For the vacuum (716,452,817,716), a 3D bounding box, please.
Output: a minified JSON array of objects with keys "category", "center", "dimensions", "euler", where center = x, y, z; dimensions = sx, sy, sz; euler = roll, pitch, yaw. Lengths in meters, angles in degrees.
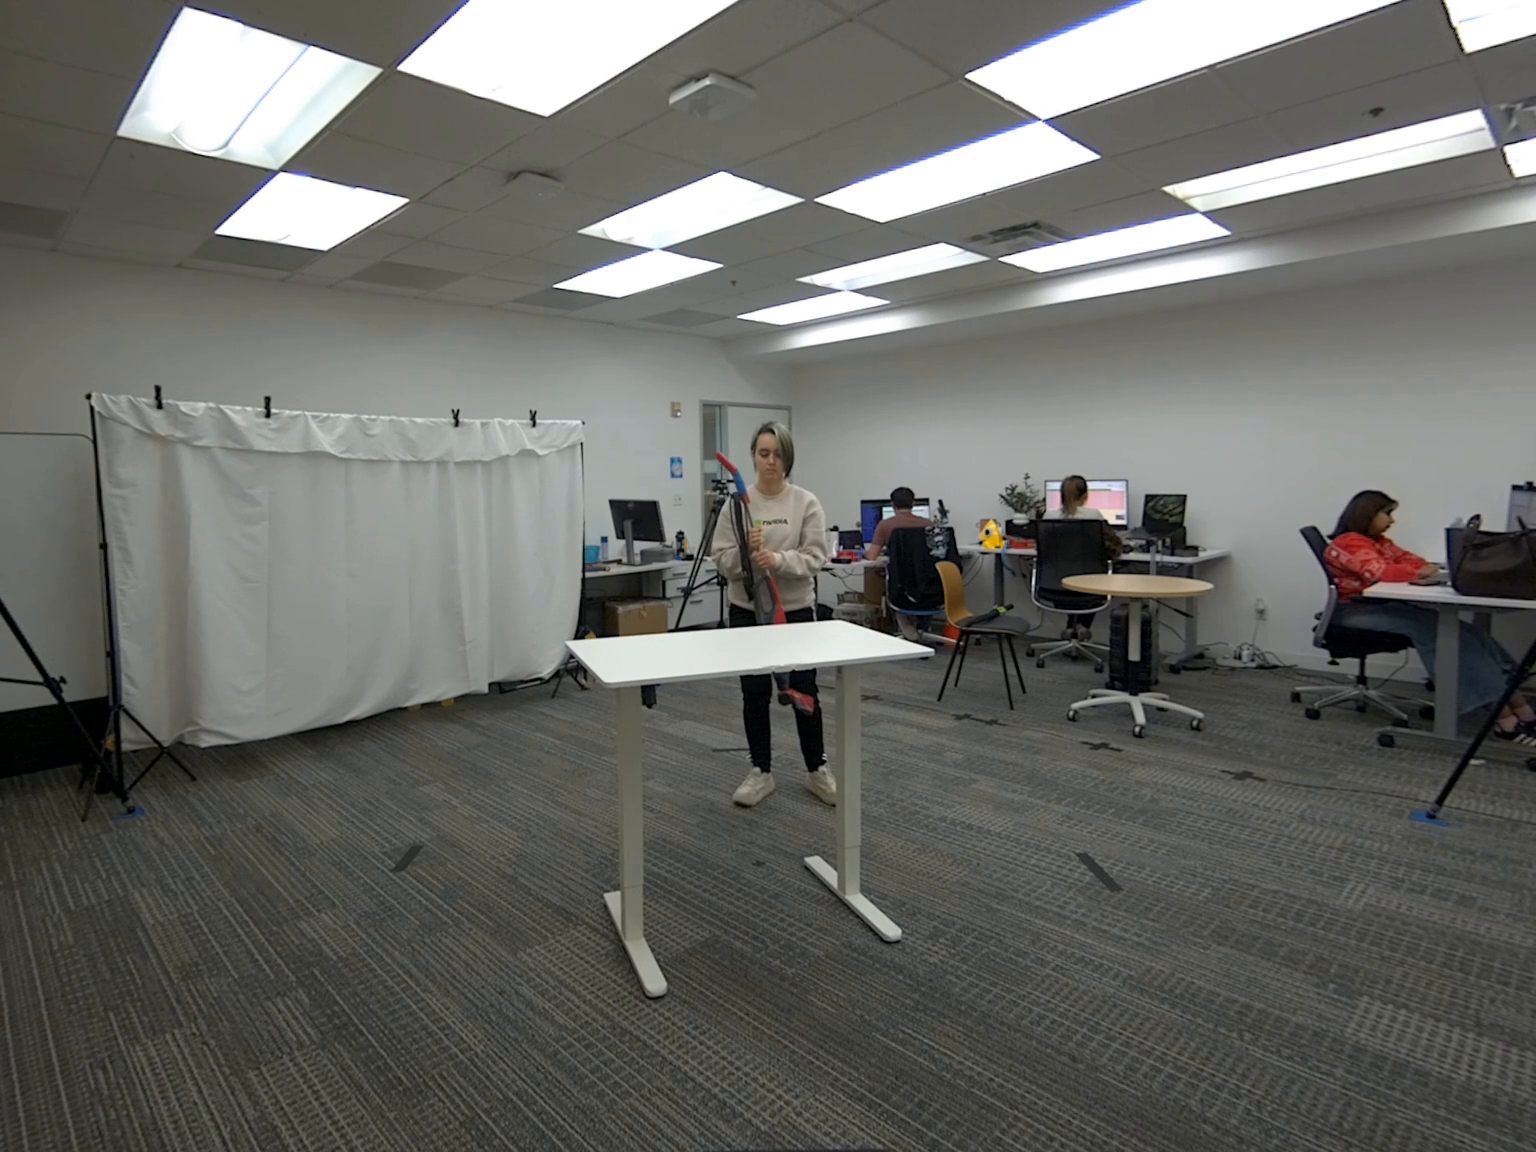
[{"category":"vacuum","center":[-0.040,0.013,3.450],"dimensions":[0.145,1.052,0.250],"euler":[-17,-2,9]}]
